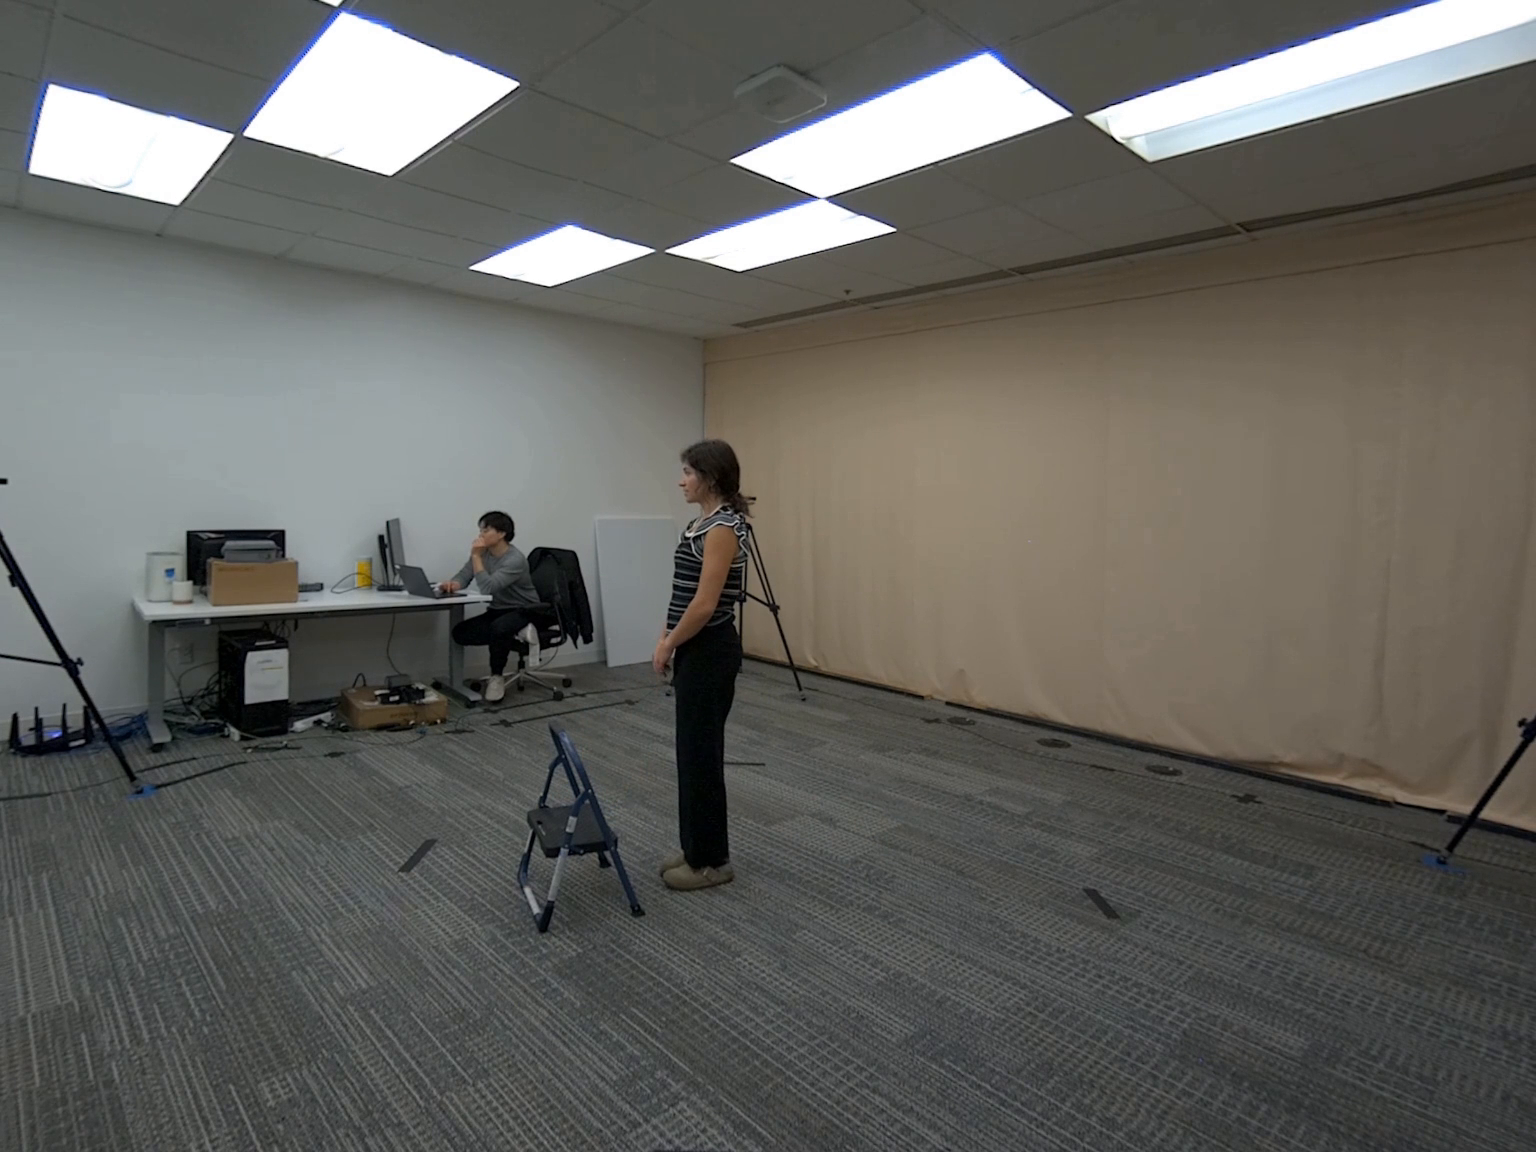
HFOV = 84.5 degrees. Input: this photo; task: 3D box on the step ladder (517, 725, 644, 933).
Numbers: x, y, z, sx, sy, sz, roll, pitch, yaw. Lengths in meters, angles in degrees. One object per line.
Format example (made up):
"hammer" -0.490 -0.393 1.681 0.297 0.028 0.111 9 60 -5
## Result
"step ladder" -0.658 0.812 2.899 0.343 0.604 0.440 0 4 -26
